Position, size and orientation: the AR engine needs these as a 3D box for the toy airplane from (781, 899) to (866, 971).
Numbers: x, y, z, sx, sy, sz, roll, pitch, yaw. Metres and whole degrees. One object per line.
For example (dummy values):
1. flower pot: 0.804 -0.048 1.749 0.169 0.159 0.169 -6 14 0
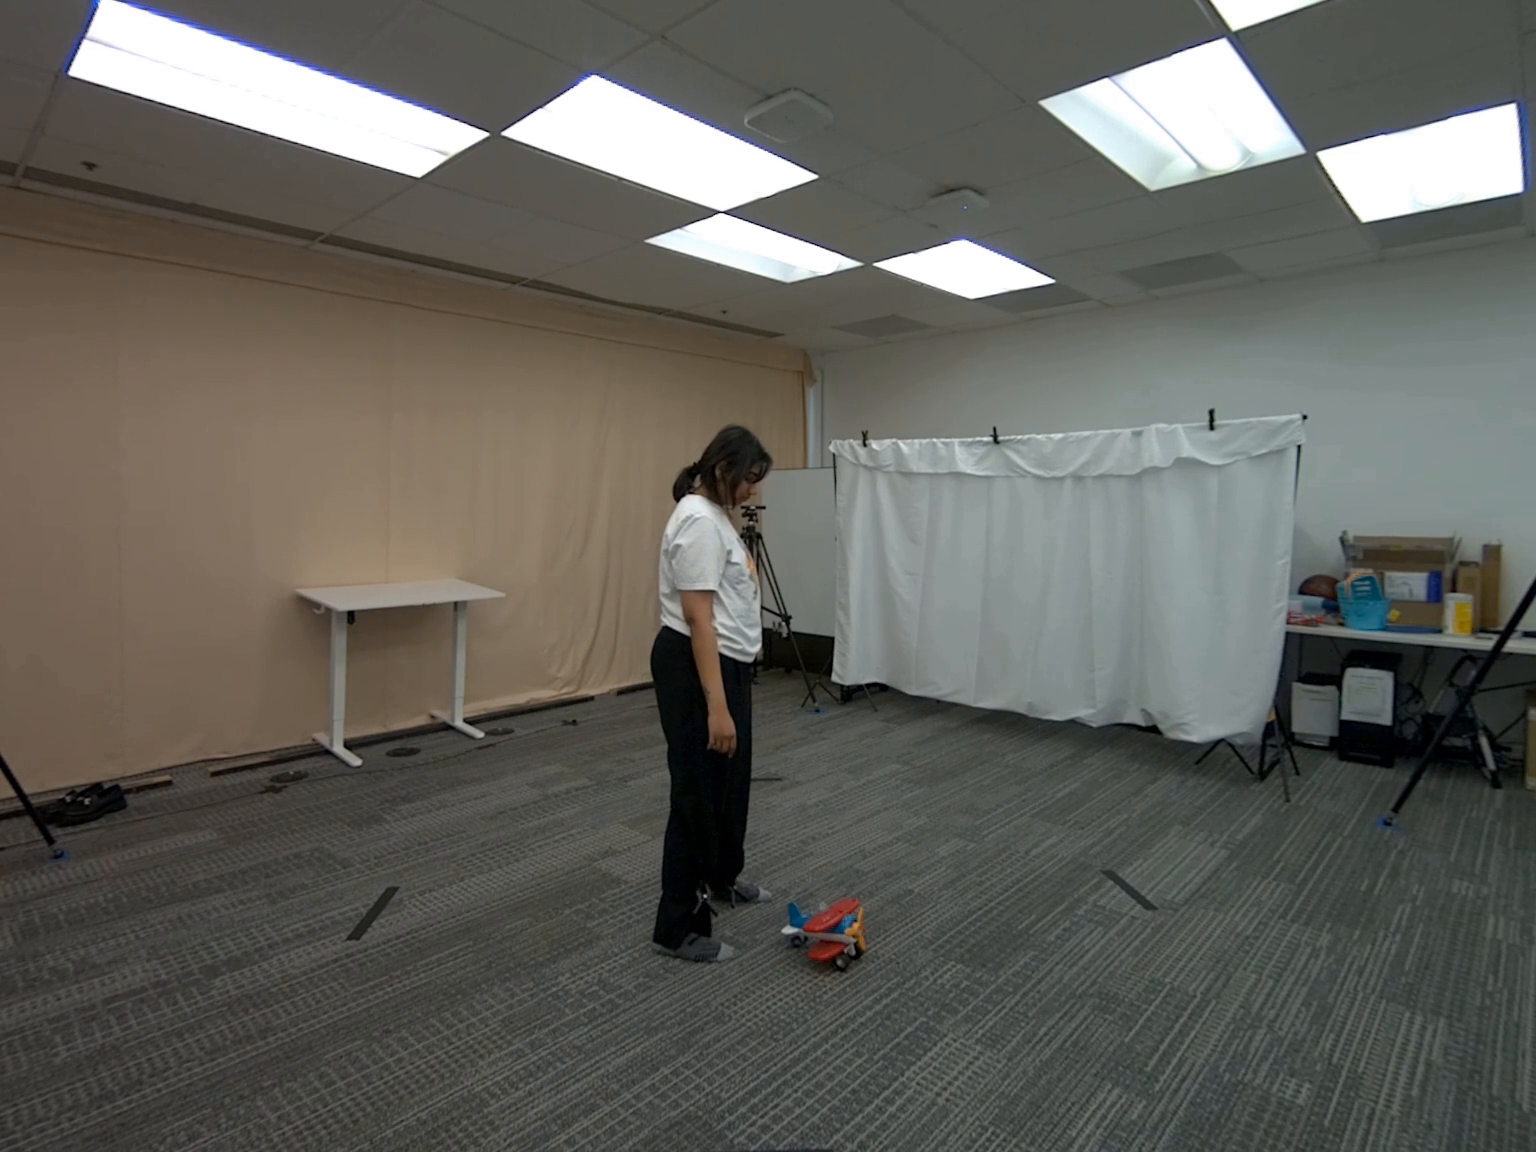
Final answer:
1. toy airplane: 0.170 1.099 2.588 0.262 0.156 0.249 2 5 10
